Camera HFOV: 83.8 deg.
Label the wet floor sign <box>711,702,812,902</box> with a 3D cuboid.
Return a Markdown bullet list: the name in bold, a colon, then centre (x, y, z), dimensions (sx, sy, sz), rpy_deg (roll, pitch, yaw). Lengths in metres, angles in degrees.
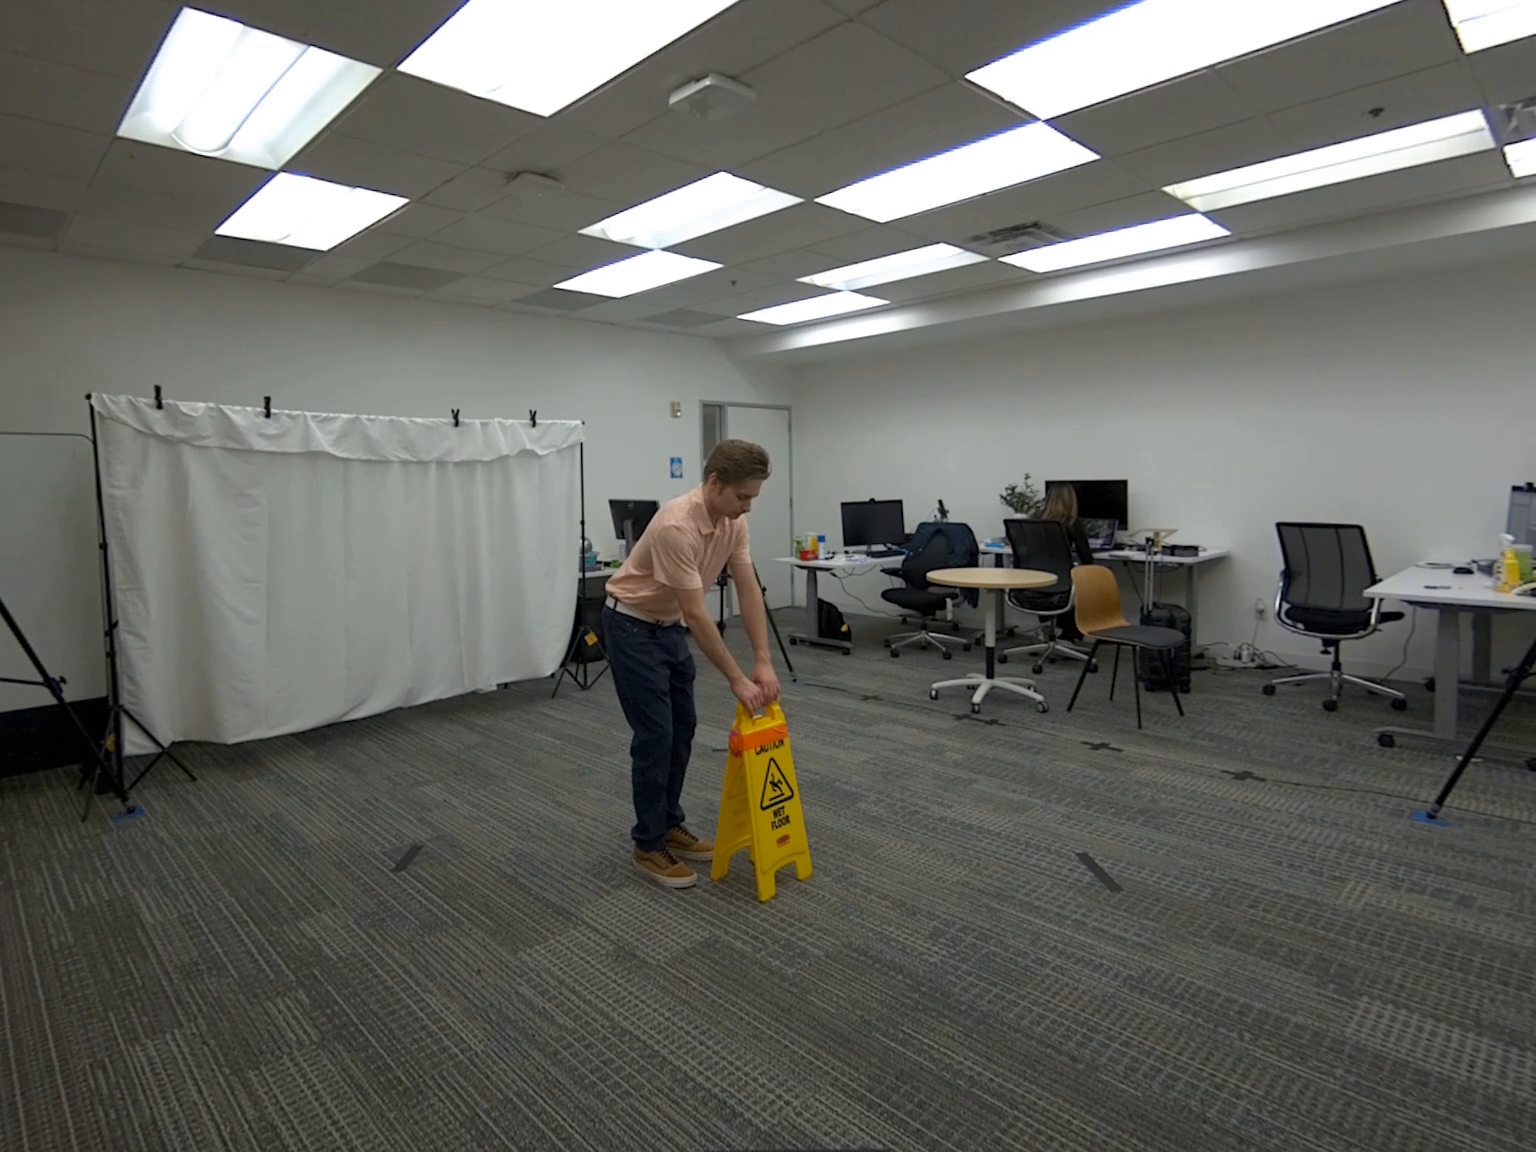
- **wet floor sign**: centre (-0.024, 0.733, 2.980), dimensions (0.299, 0.643, 0.275), rpy_deg (4, 7, 44)
